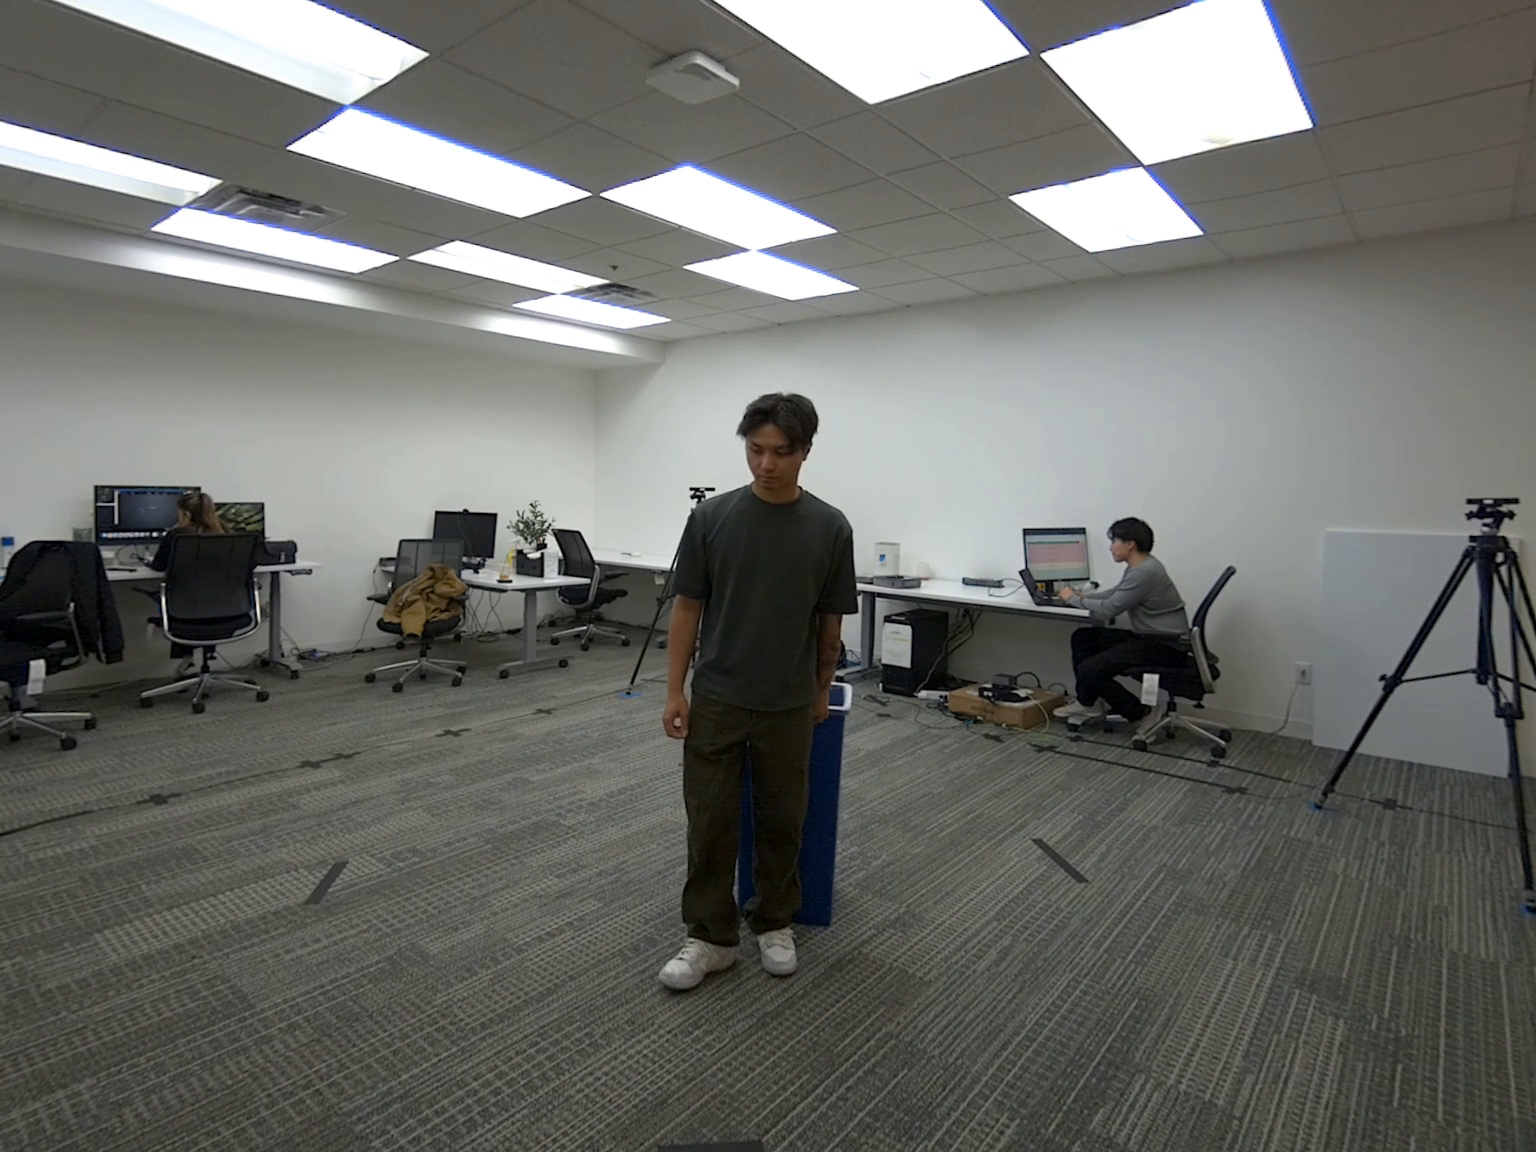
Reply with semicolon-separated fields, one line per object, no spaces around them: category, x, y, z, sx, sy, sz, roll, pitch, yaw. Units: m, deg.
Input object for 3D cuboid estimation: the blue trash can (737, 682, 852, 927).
blue trash can;0.080;0.738;2.863;0.378;0.712;0.375;2;3;9
